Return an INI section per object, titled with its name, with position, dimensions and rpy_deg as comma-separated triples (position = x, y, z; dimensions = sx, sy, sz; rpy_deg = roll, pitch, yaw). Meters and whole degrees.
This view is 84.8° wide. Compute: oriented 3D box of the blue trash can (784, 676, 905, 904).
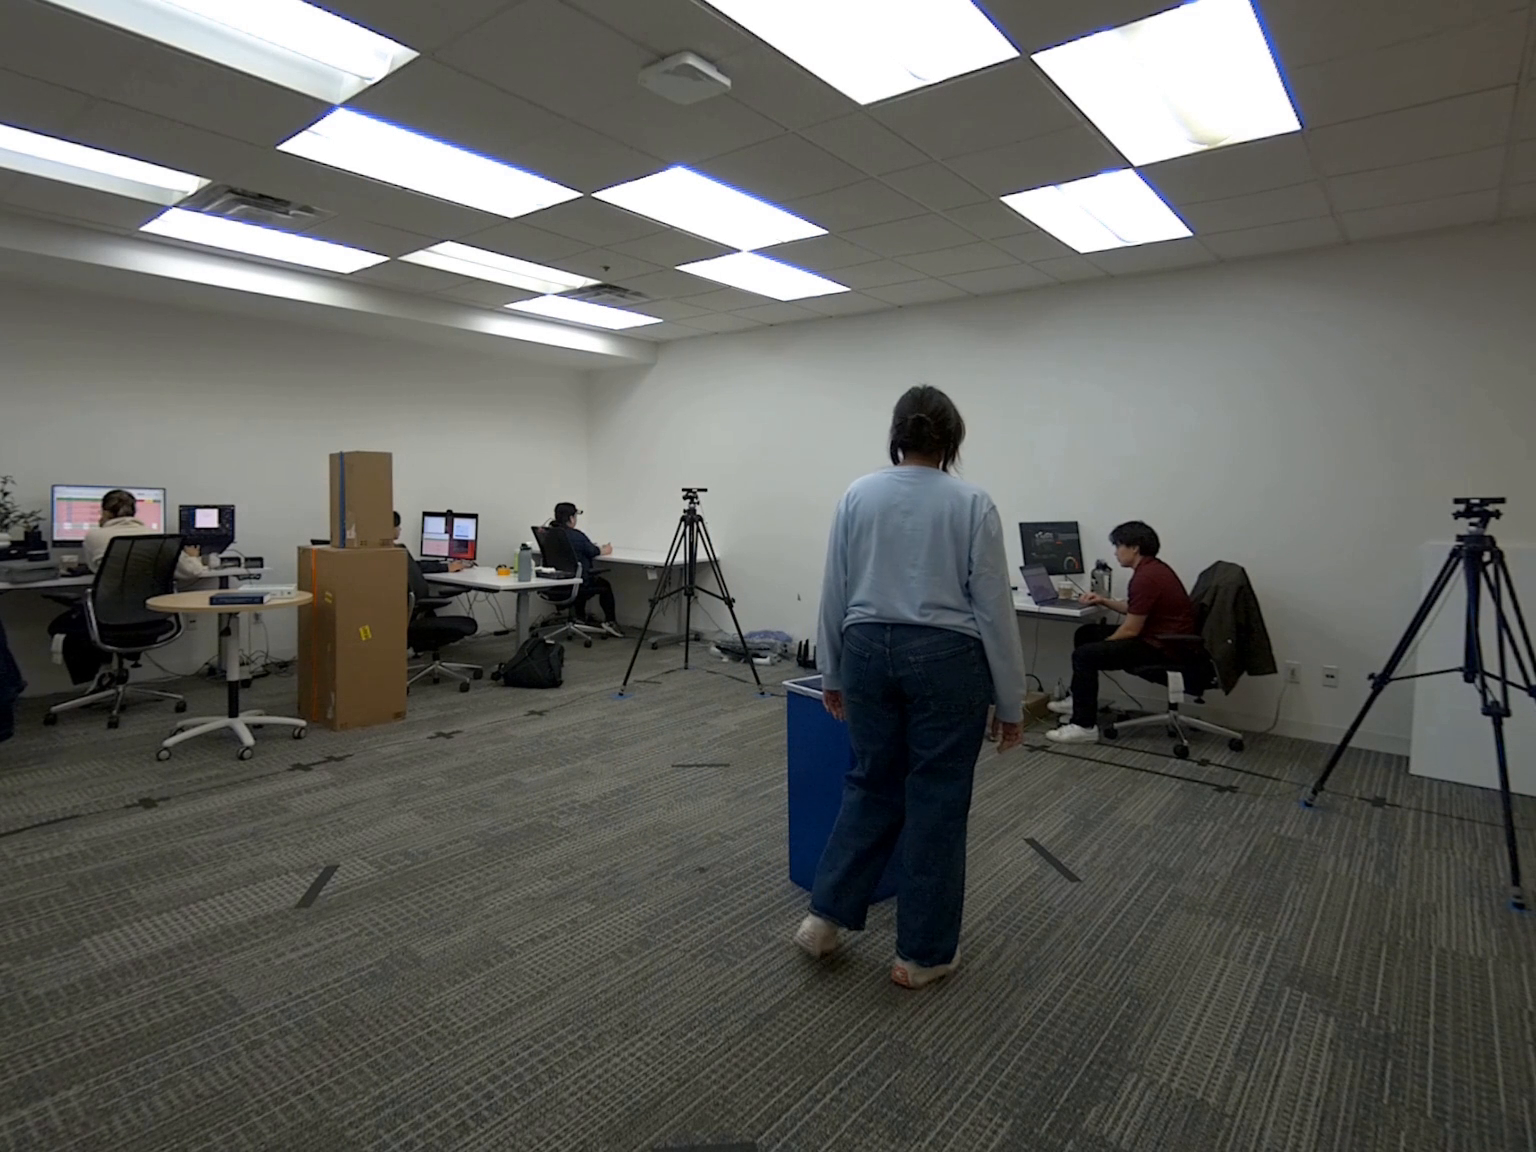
[blue trash can]
position = 0.276, 0.734, 3.003
dimensions = 0.366, 0.712, 0.387
rpy_deg = 0, 3, -40
